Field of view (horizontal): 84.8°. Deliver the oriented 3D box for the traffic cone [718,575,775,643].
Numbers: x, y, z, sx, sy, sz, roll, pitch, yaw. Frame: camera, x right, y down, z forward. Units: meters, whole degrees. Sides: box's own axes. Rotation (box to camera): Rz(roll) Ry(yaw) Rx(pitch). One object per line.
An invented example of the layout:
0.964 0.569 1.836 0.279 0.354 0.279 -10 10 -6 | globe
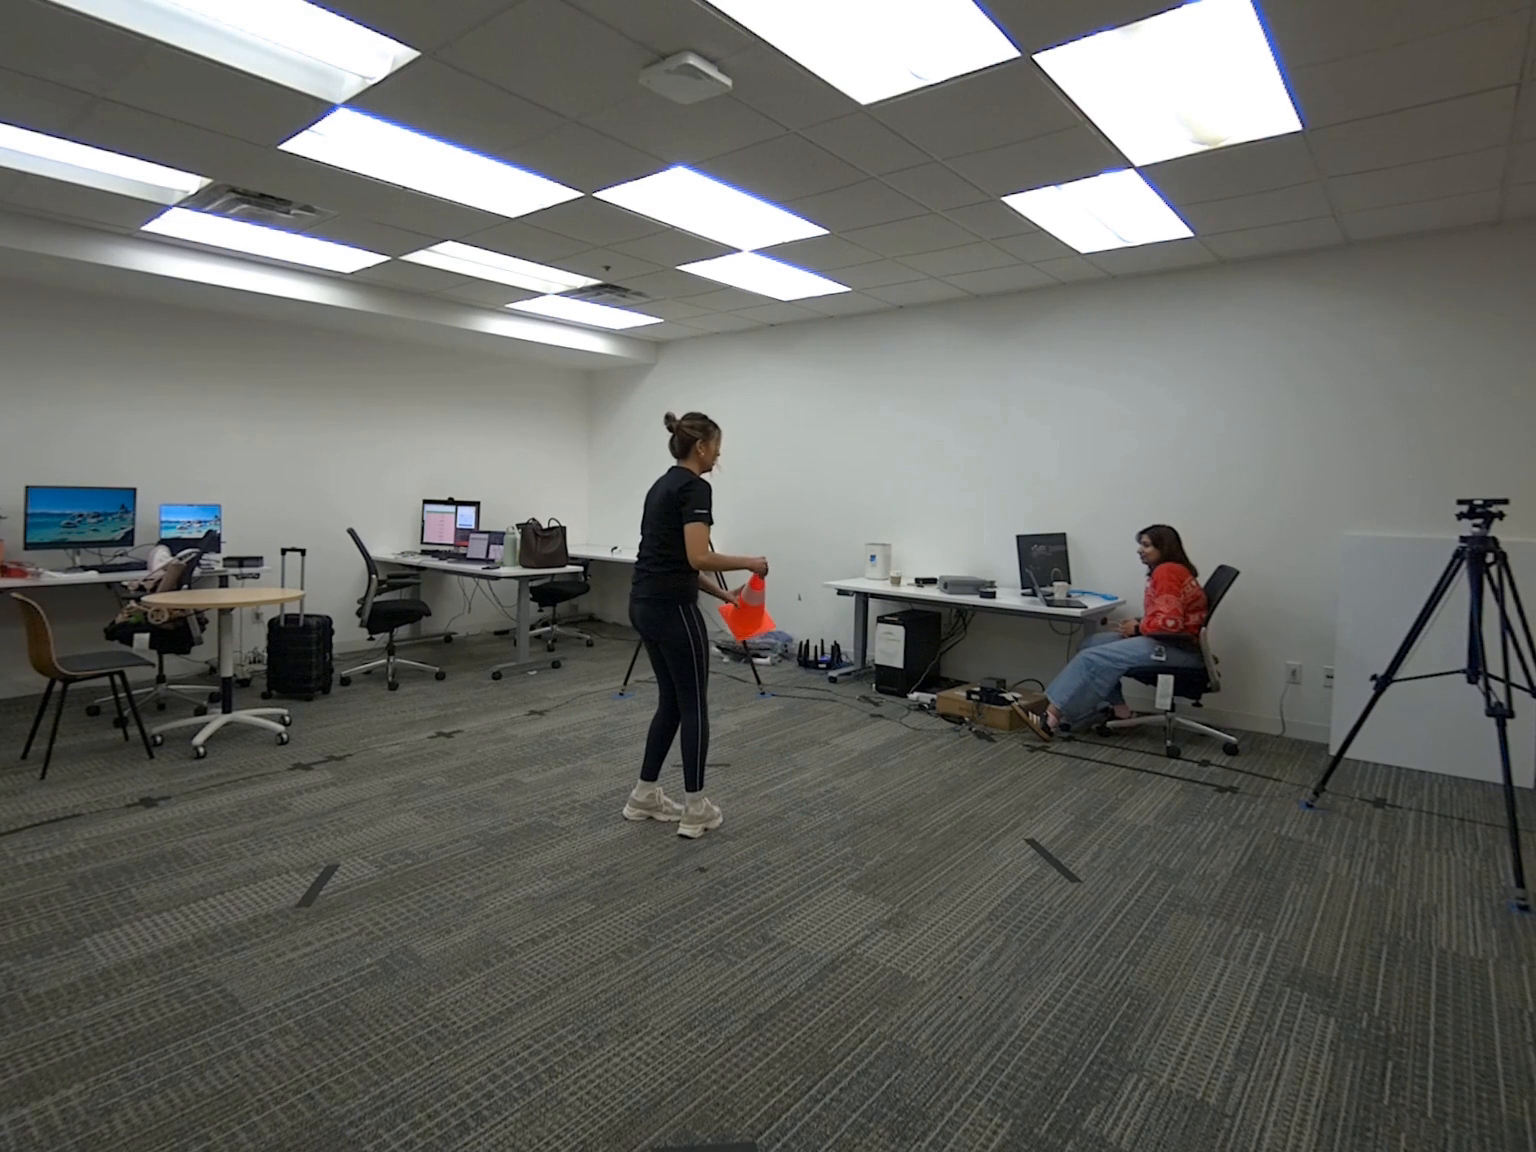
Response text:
-0.076 0.078 3.643 0.202 0.211 0.375 -16 -33 -21 | traffic cone
